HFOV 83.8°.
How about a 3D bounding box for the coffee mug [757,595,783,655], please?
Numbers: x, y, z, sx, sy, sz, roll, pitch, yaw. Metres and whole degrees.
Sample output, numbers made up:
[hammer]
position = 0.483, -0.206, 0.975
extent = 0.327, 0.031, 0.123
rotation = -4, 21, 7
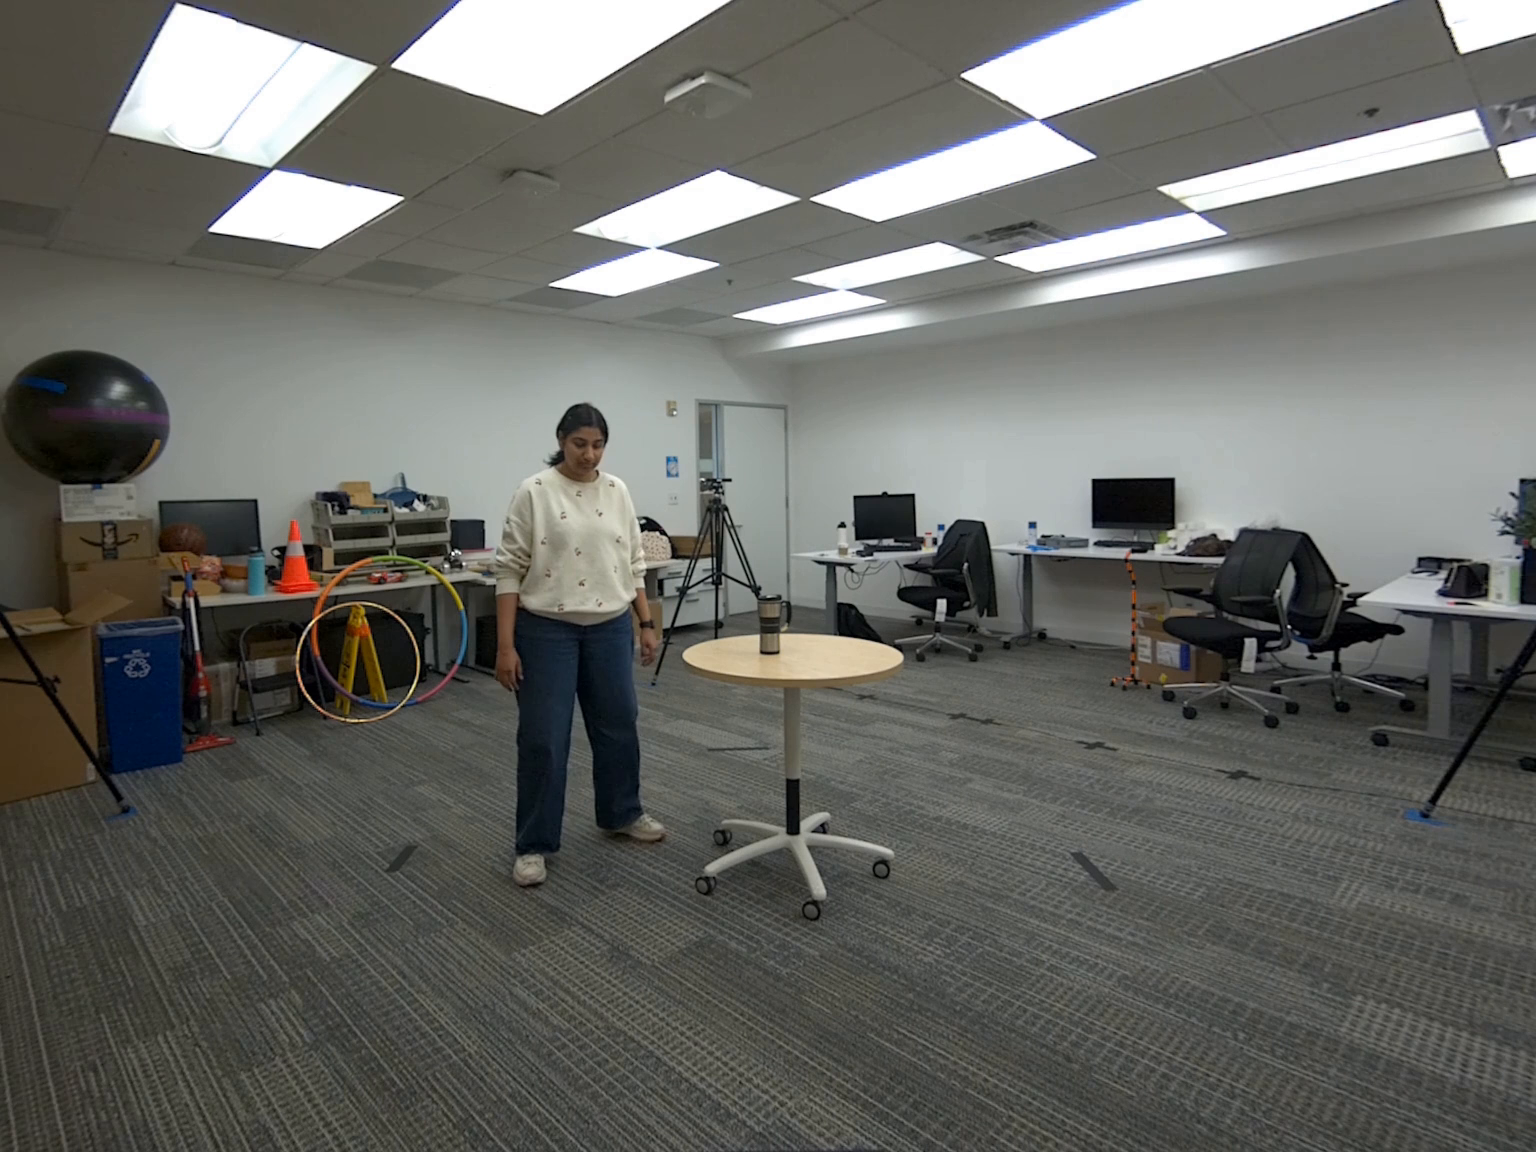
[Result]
[coffee mug]
position = 0.017, 0.173, 2.976
extent = 0.085, 0.203, 0.125
rotation = 1, -2, -40
